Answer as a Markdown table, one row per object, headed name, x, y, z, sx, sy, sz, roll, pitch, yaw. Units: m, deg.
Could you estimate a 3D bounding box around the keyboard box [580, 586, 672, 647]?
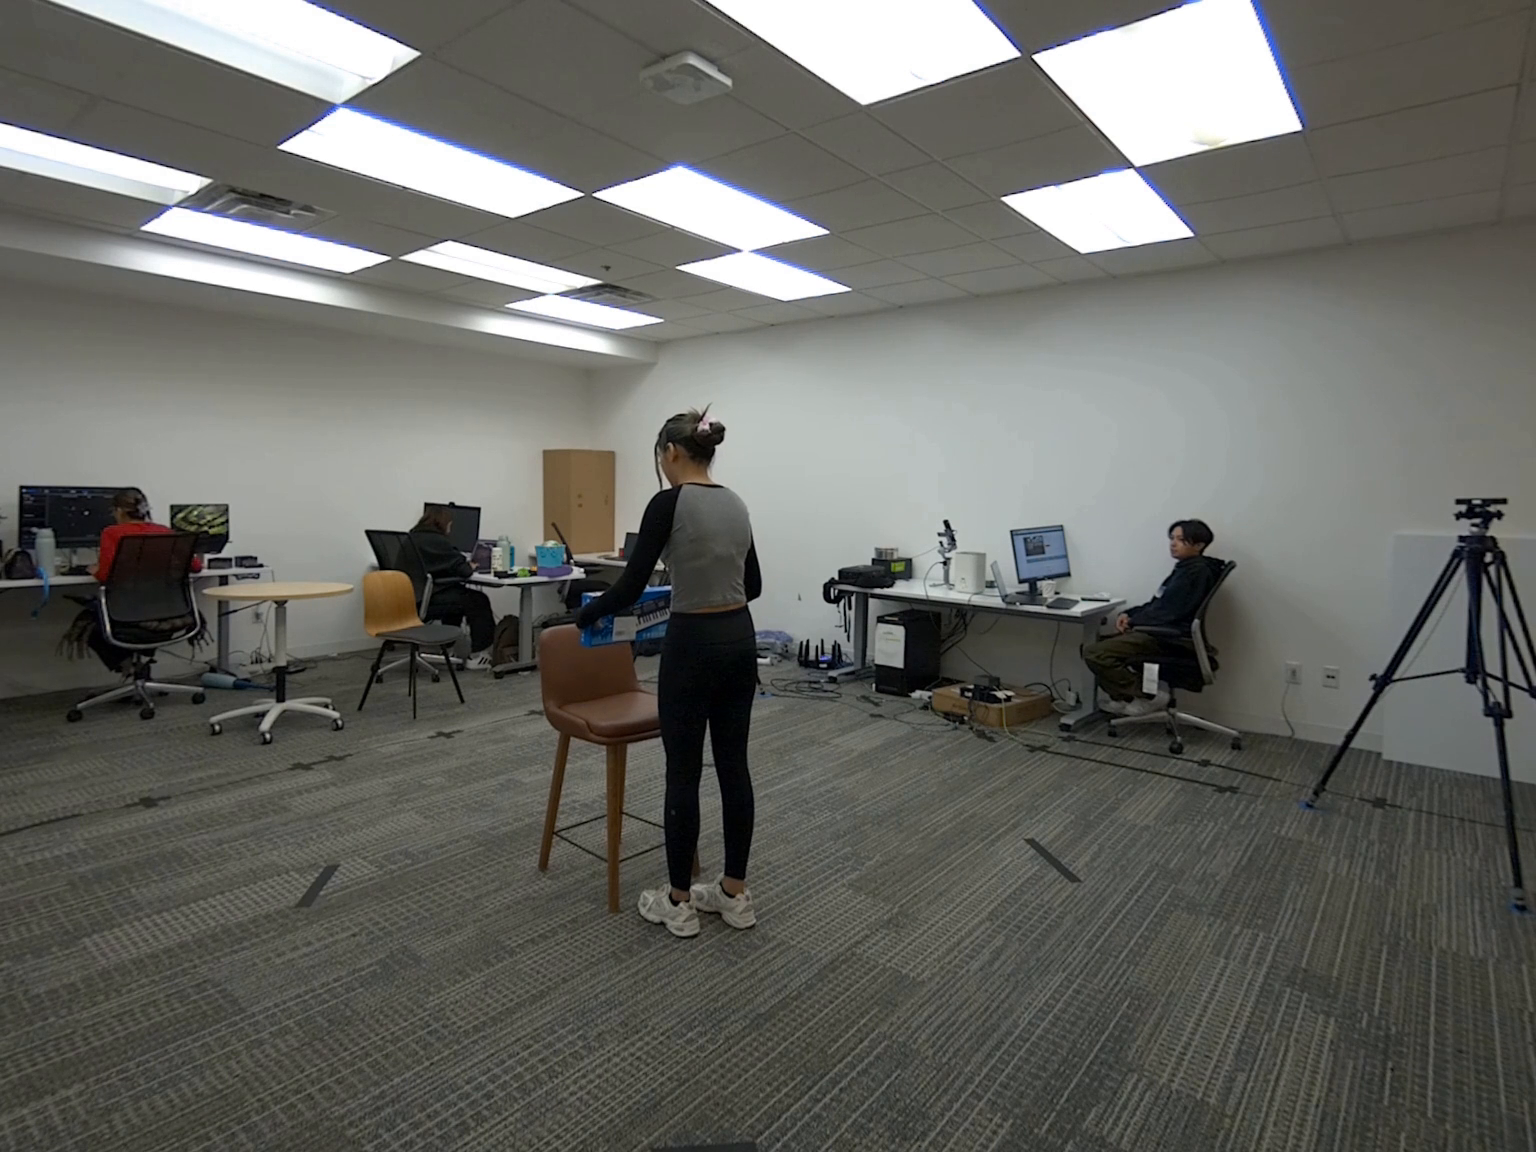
| name | x | y | z | sx | sy | sz | roll | pitch | yaw |
| --- | --- | --- | --- | --- | --- | --- | --- | --- | --- |
| keyboard box | -0.468 | 0.136 | 2.977 | 0.061 | 0.175 | 0.424 | 9 | 9 | 43 |
